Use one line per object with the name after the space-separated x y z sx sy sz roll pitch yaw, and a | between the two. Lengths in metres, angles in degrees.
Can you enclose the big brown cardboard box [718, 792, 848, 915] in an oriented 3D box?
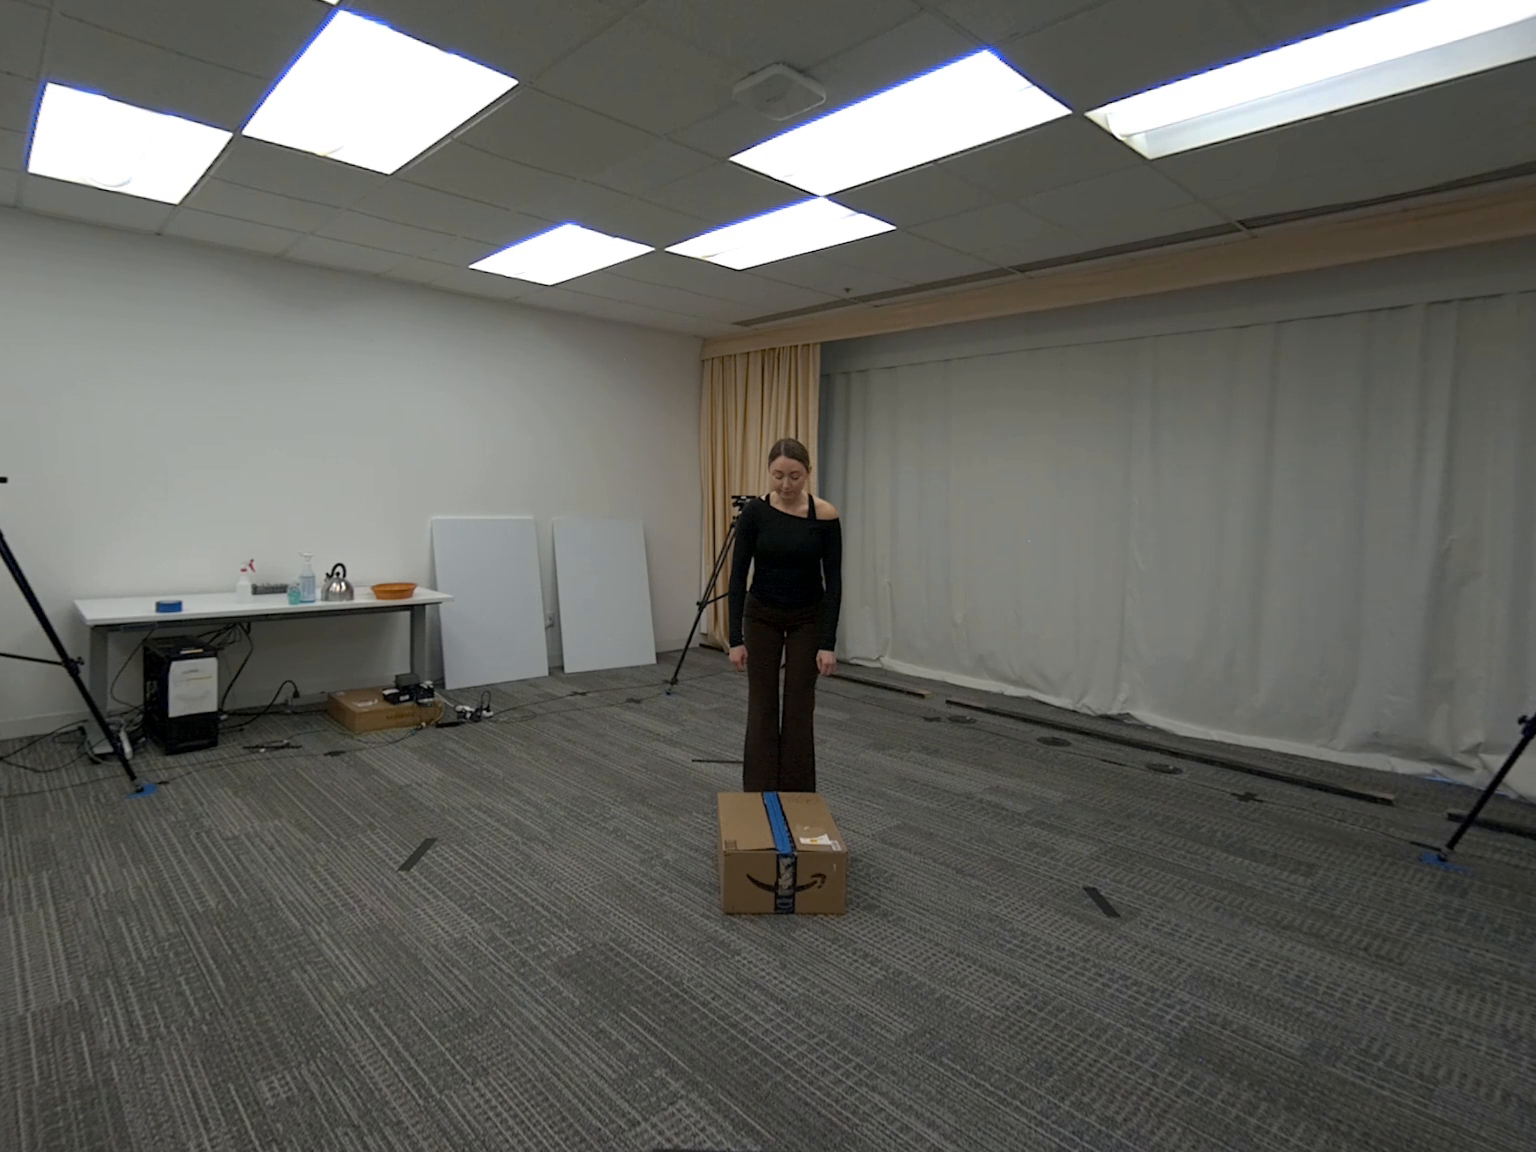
0.021 0.995 3.075 0.416 0.232 0.592 1 4 -5 | big brown cardboard box
